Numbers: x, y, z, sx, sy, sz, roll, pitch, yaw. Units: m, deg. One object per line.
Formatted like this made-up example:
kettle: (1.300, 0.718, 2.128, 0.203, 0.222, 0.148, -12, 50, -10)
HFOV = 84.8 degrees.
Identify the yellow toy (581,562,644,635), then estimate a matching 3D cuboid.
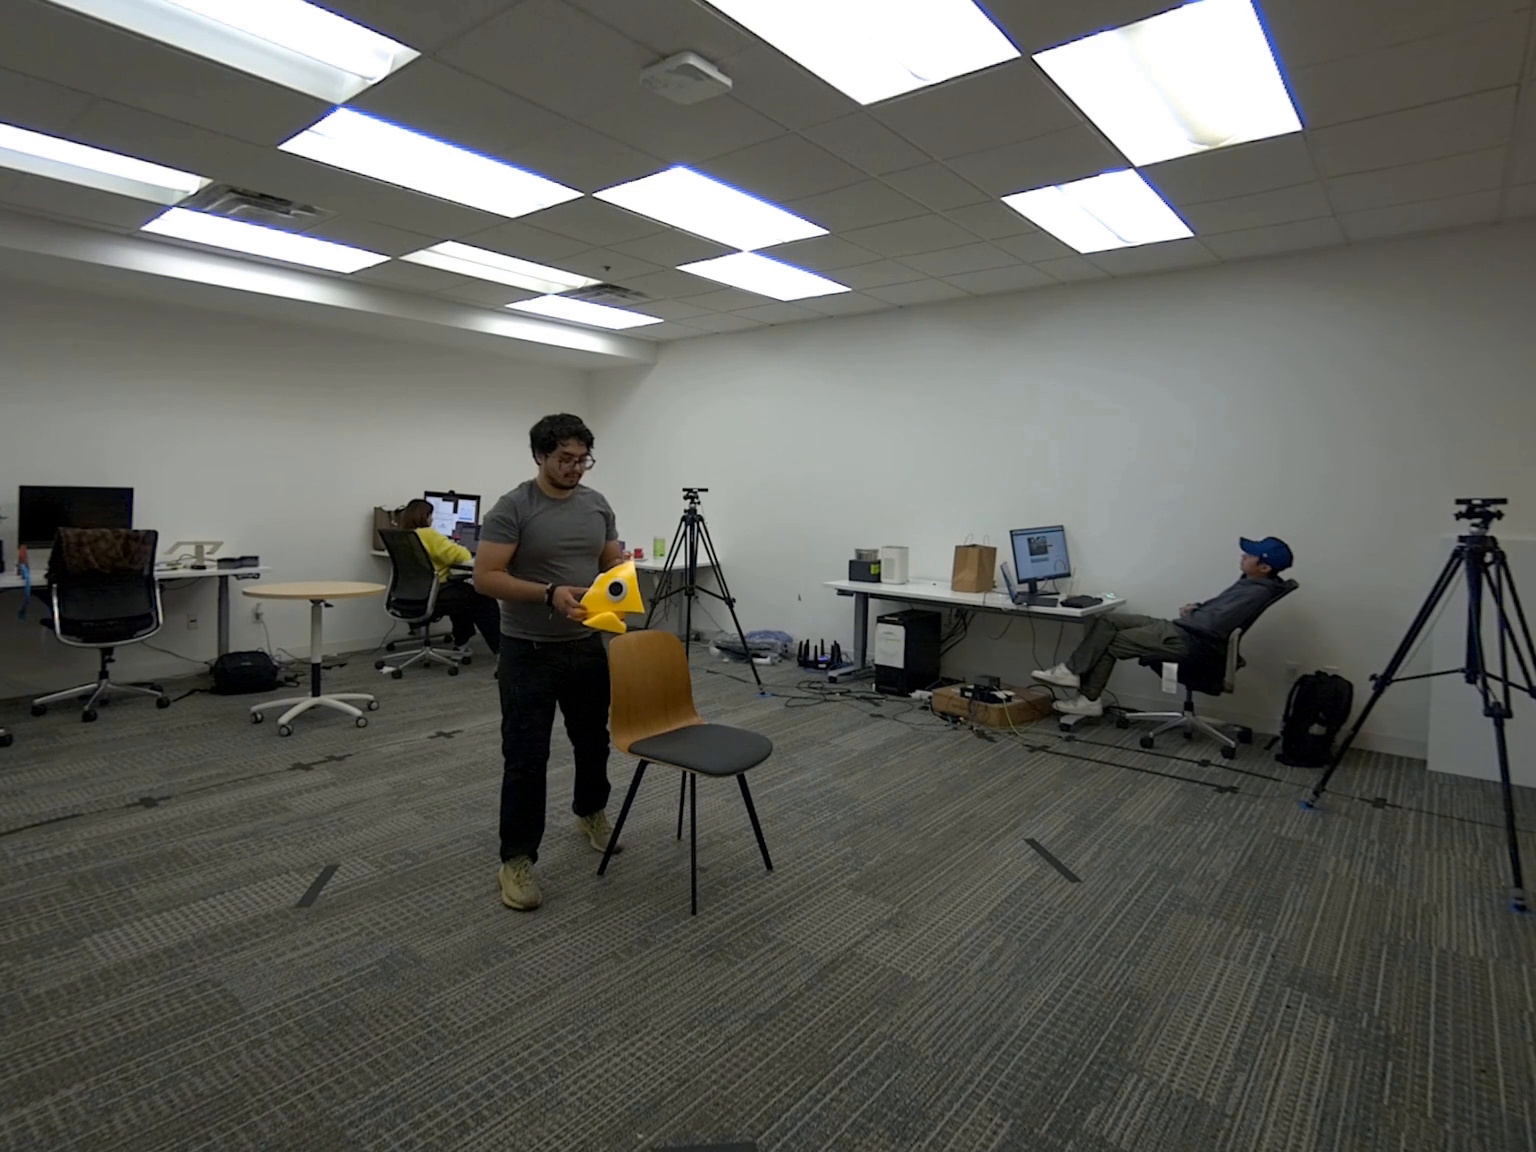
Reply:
yellow toy: (-0.531, 0.050, 2.767, 0.186, 0.231, 0.212, 16, -2, -37)
